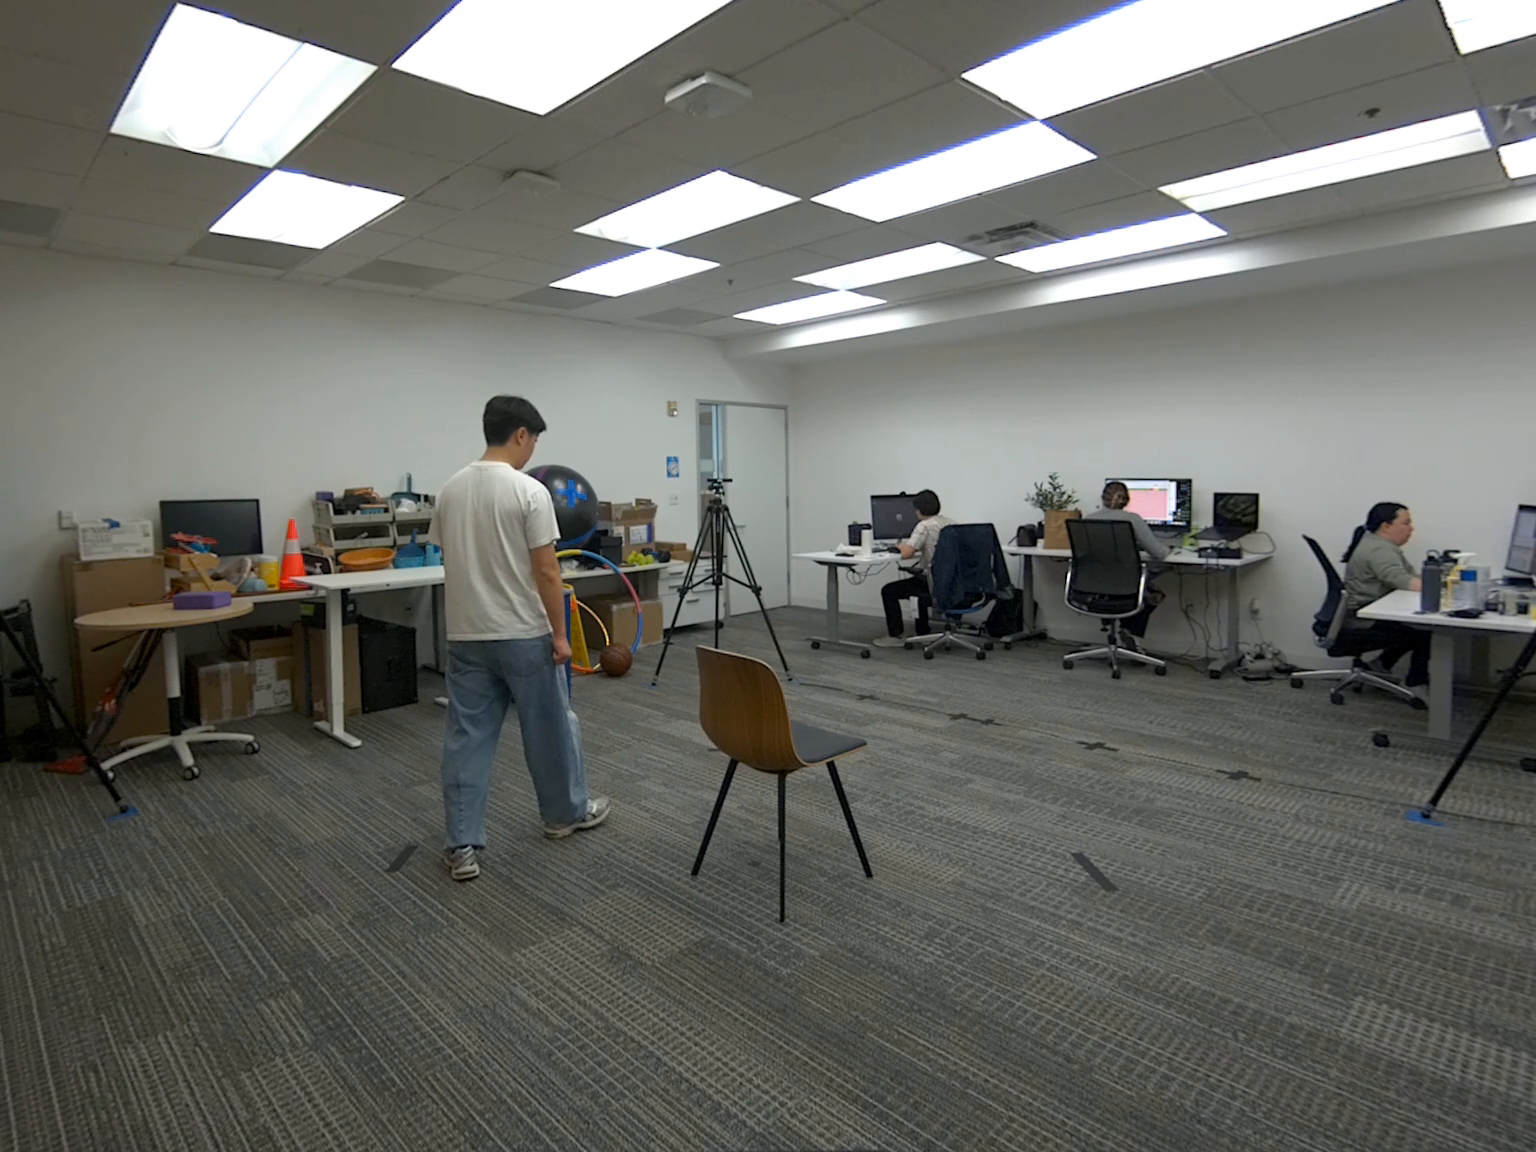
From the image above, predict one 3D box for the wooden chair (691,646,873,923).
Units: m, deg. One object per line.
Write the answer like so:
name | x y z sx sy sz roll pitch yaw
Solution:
wooden chair | 0.050 0.634 2.967 0.511 0.871 0.493 -10 10 -43
